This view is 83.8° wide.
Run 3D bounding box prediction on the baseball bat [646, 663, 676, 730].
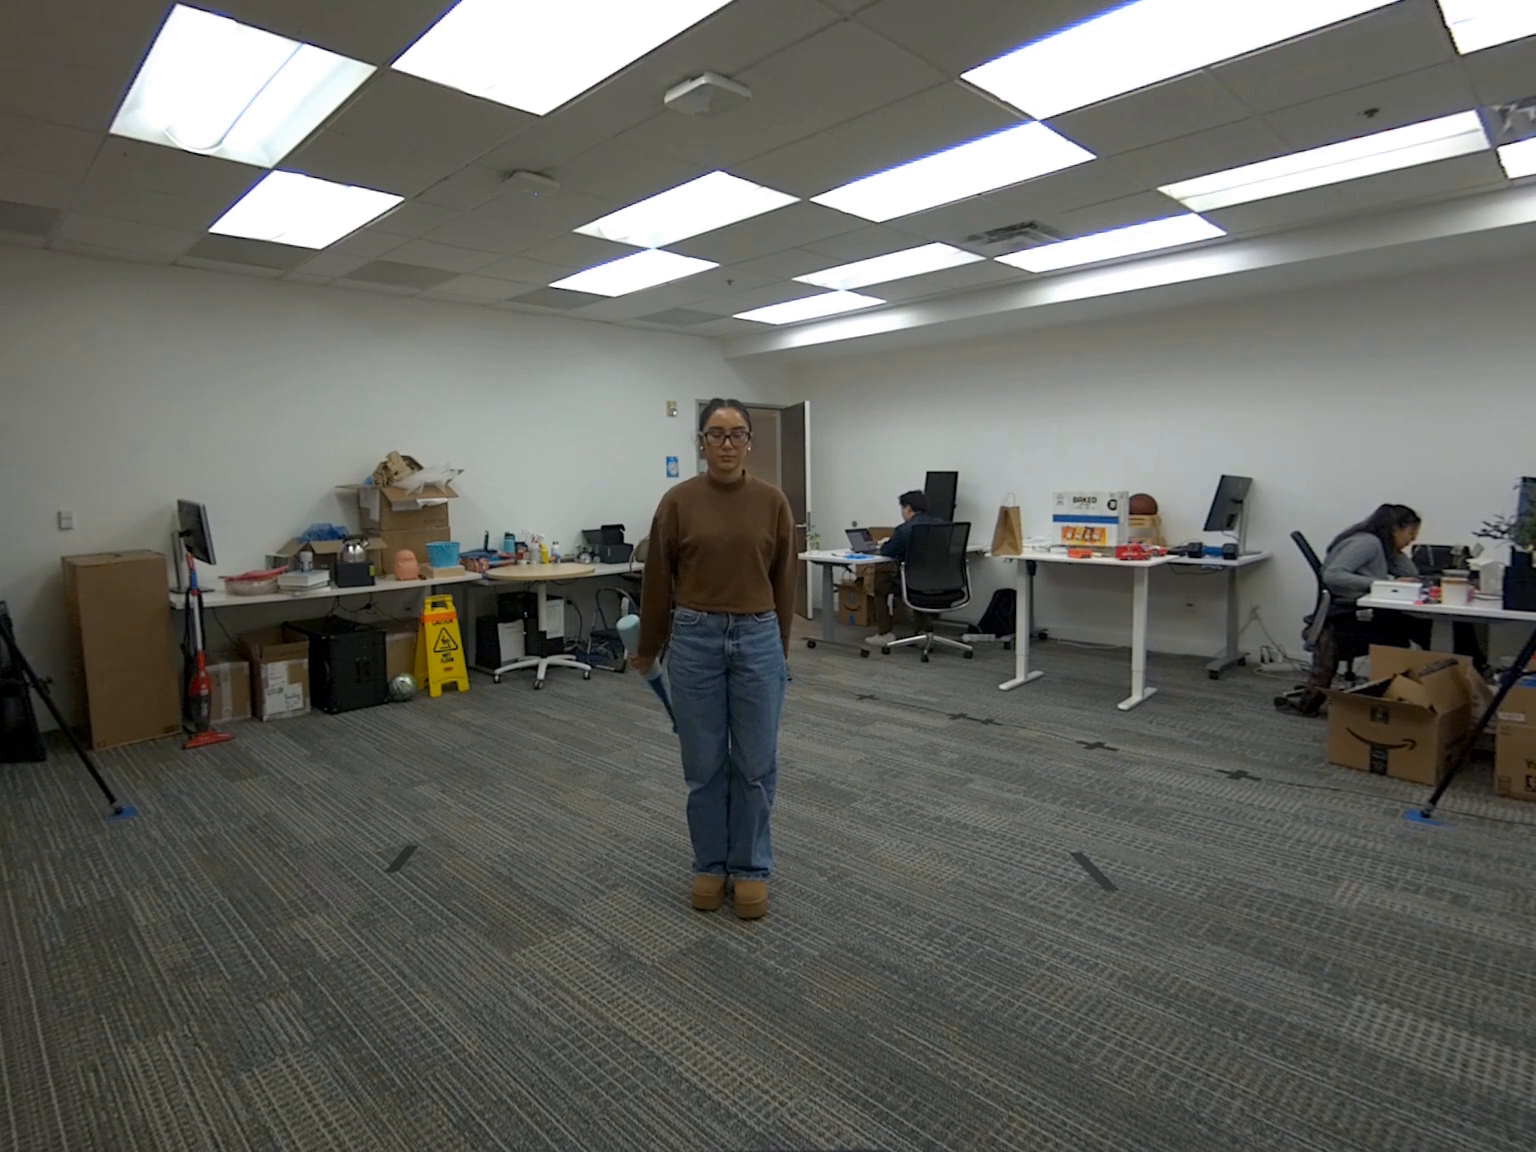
[{"bbox_3d":[-0.400,0.368,3.065,0.089,0.527,0.091,-15,30,8],"label":"baseball bat"}]
